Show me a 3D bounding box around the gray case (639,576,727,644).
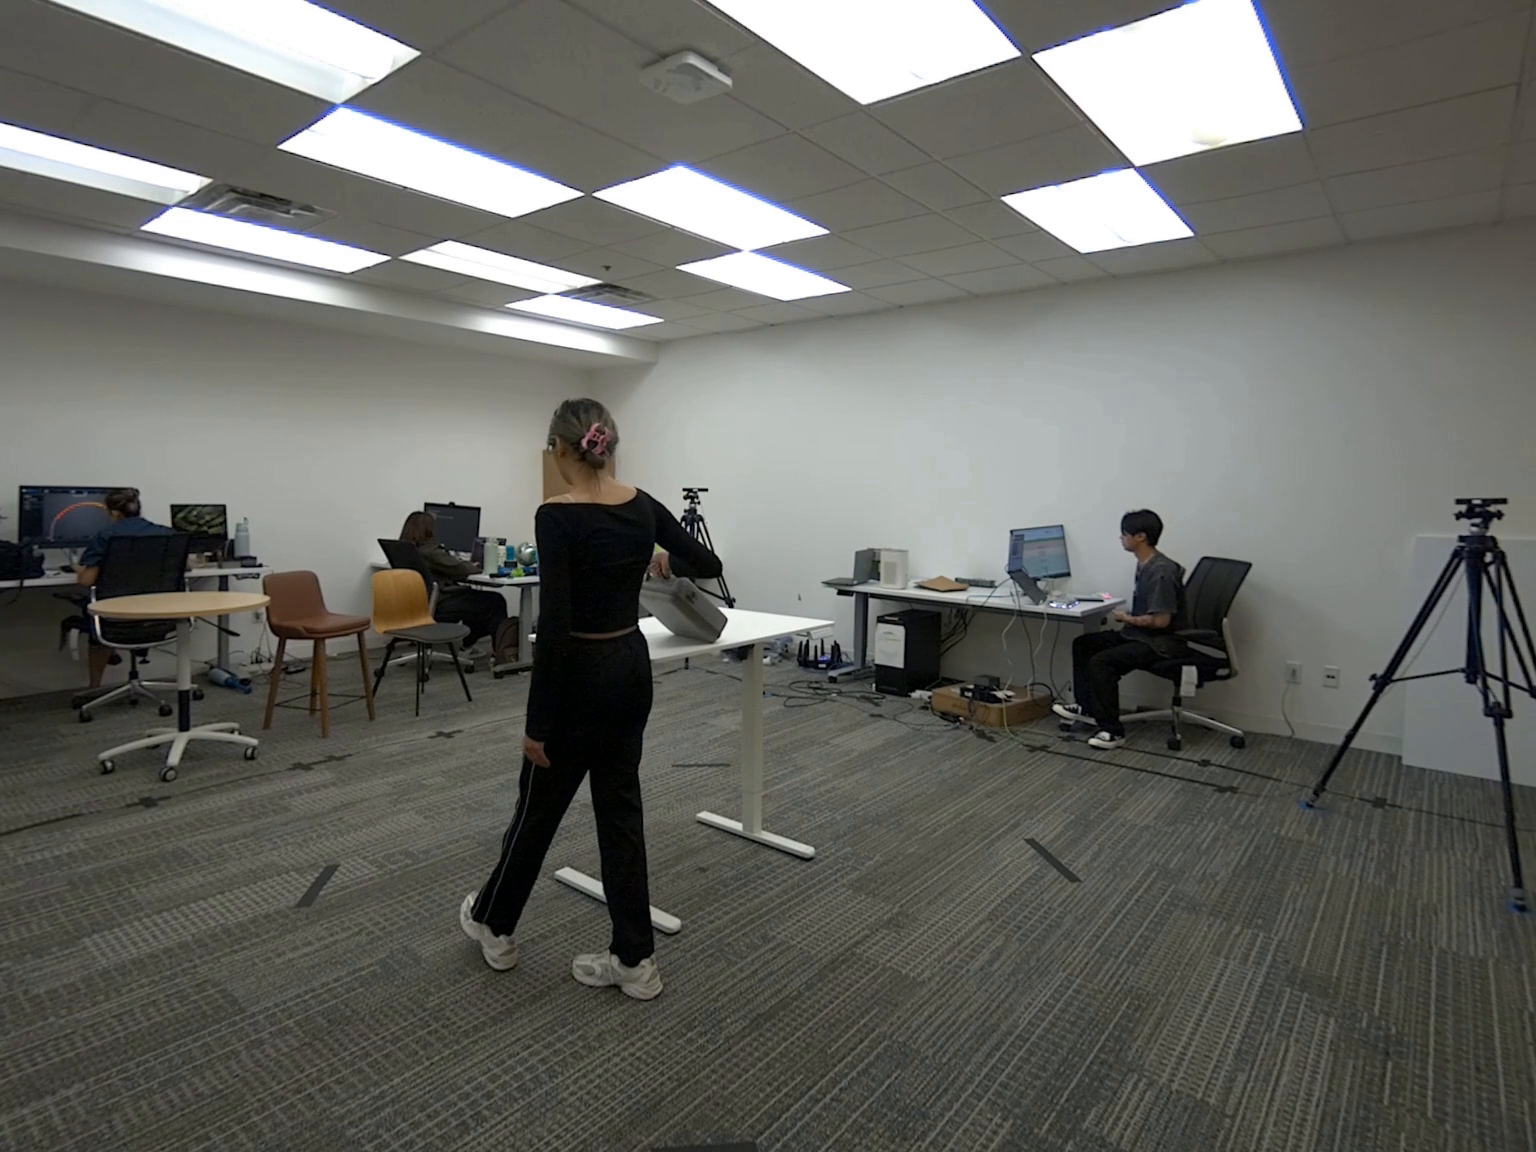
[{"bbox_3d":[-0.304,0.099,2.827,0.266,0.105,0.251,7,-33,51],"label":"gray case"}]
